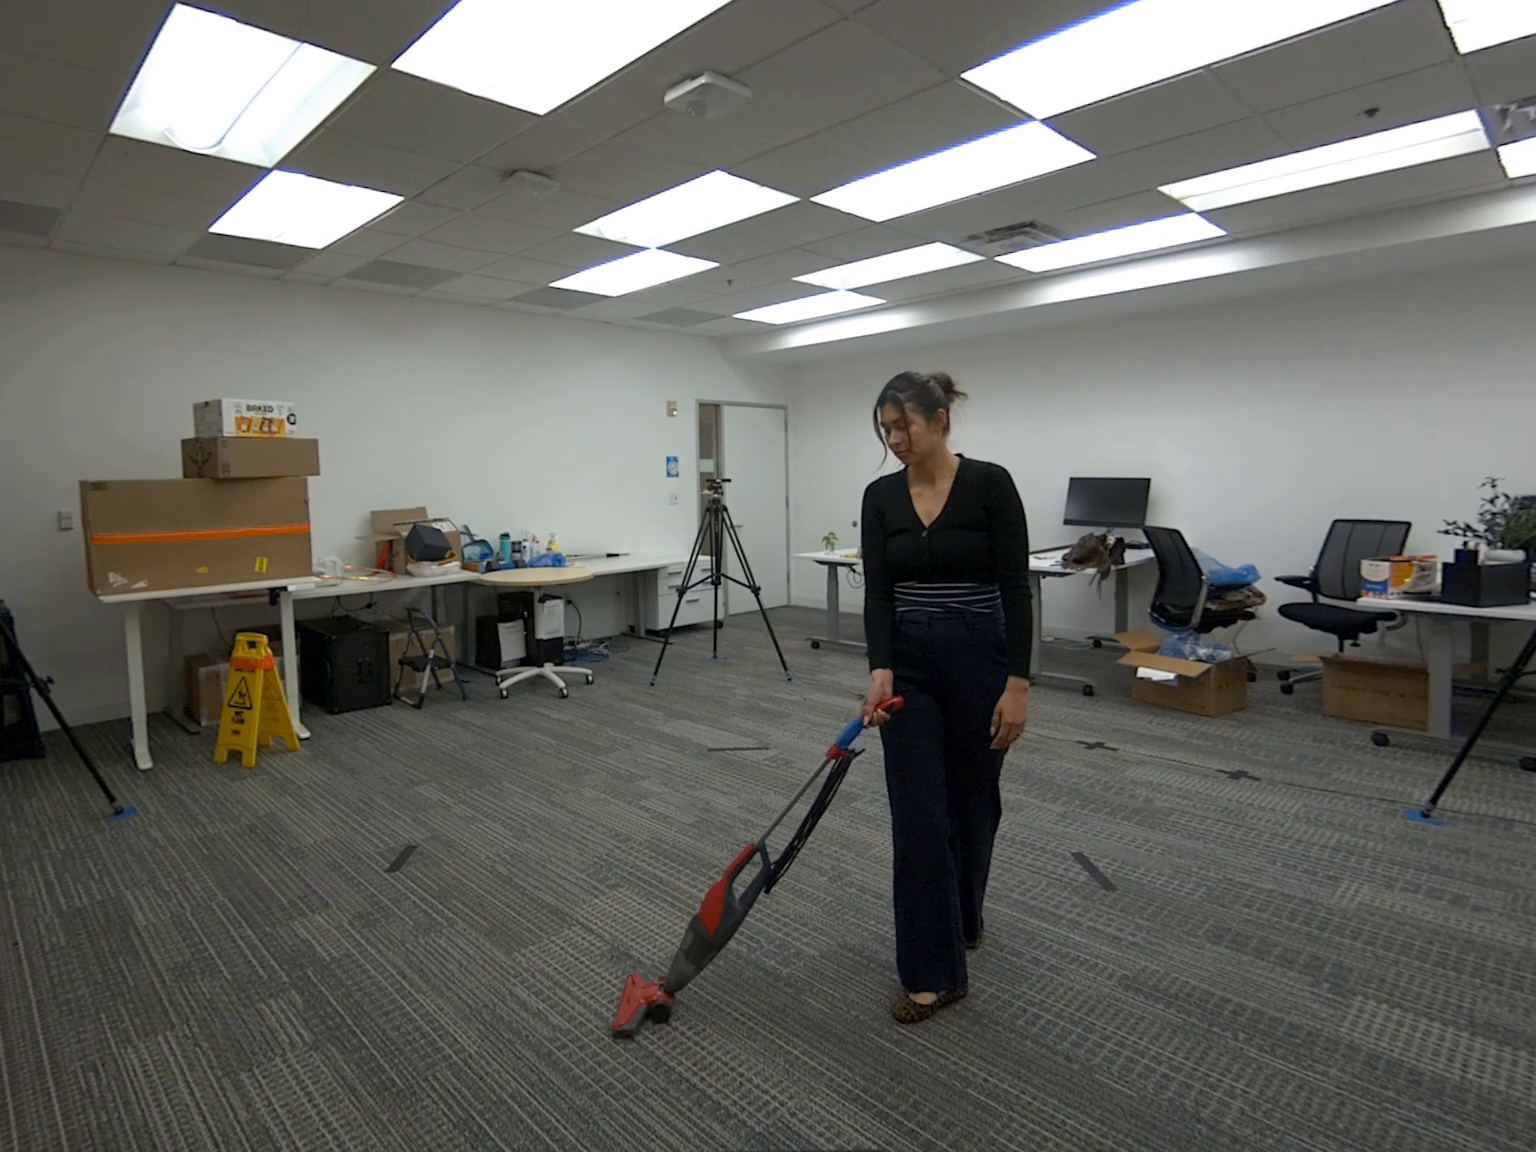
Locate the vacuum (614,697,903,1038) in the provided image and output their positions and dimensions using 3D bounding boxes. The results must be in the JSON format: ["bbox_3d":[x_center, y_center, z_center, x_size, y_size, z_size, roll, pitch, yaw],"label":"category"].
[{"bbox_3d":[0.008,0.732,2.232,0.141,1.049,0.258,38,2,-17],"label":"vacuum"}]
